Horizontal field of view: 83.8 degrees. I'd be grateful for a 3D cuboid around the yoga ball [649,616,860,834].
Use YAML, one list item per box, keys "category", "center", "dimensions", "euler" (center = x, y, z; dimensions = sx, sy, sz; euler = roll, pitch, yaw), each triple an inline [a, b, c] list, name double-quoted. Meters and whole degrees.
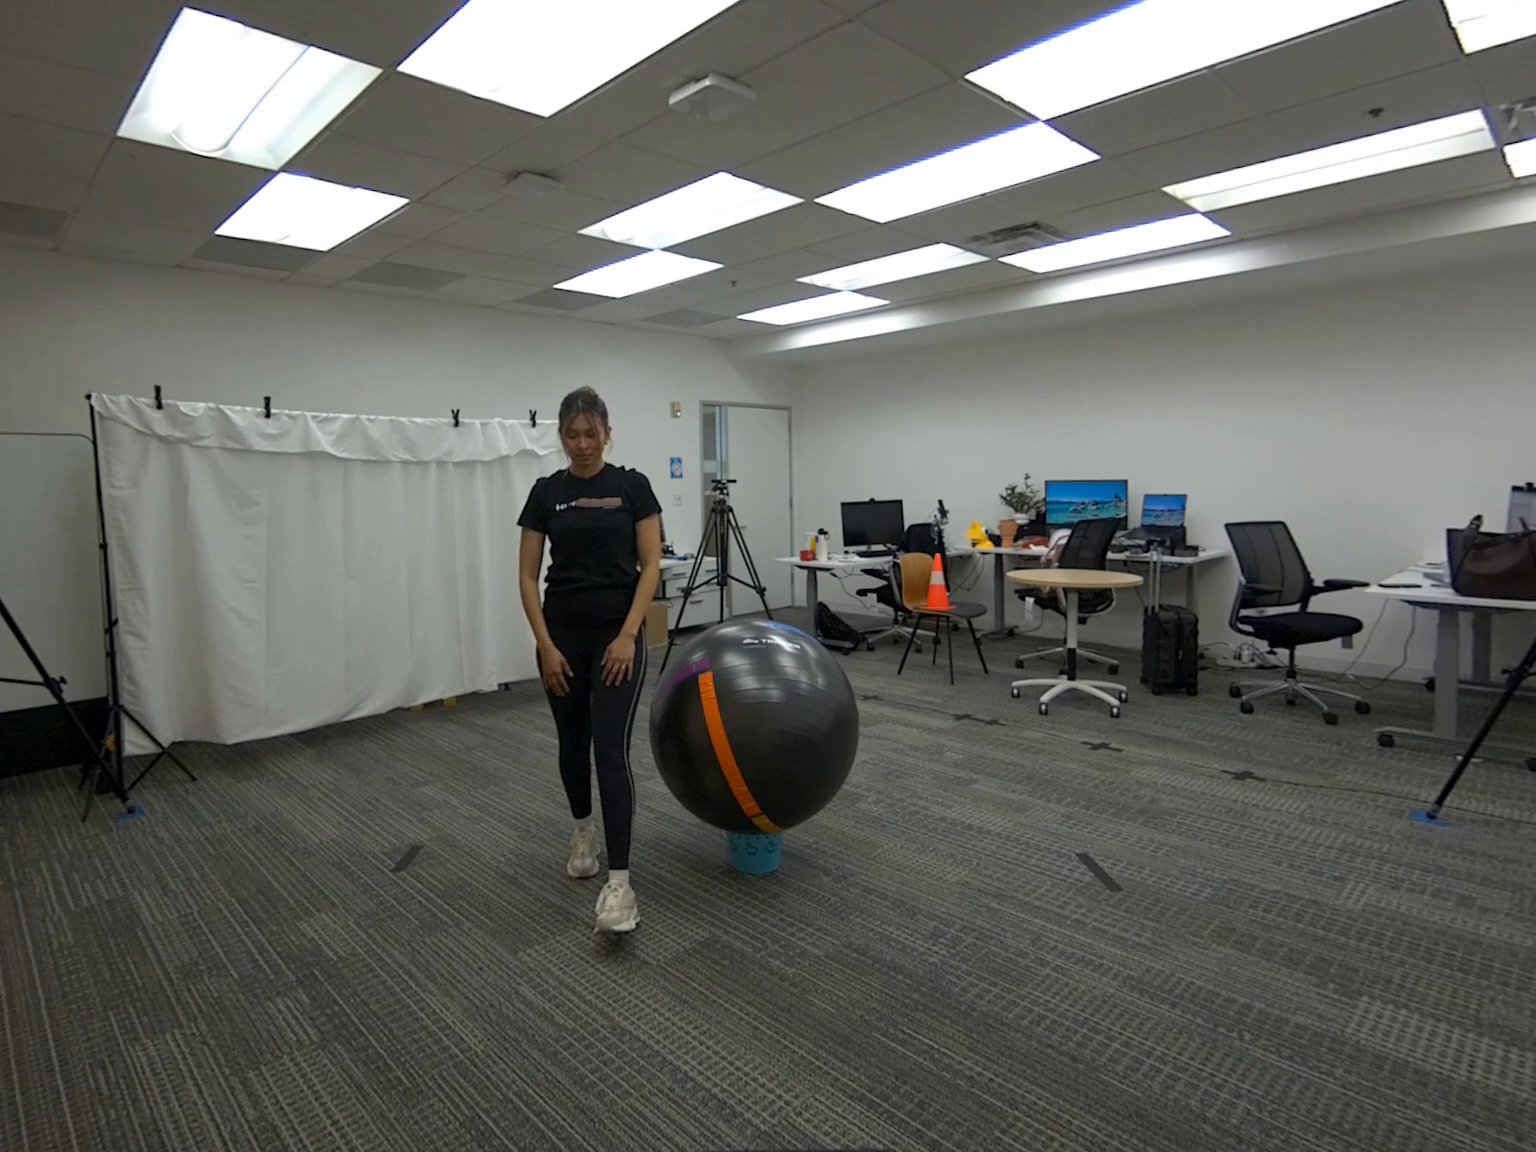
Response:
- category: "yoga ball"
  center: [-0.050, 0.537, 3.097]
  dimensions: [0.757, 0.755, 0.762]
  euler: [-1, 5, -2]
